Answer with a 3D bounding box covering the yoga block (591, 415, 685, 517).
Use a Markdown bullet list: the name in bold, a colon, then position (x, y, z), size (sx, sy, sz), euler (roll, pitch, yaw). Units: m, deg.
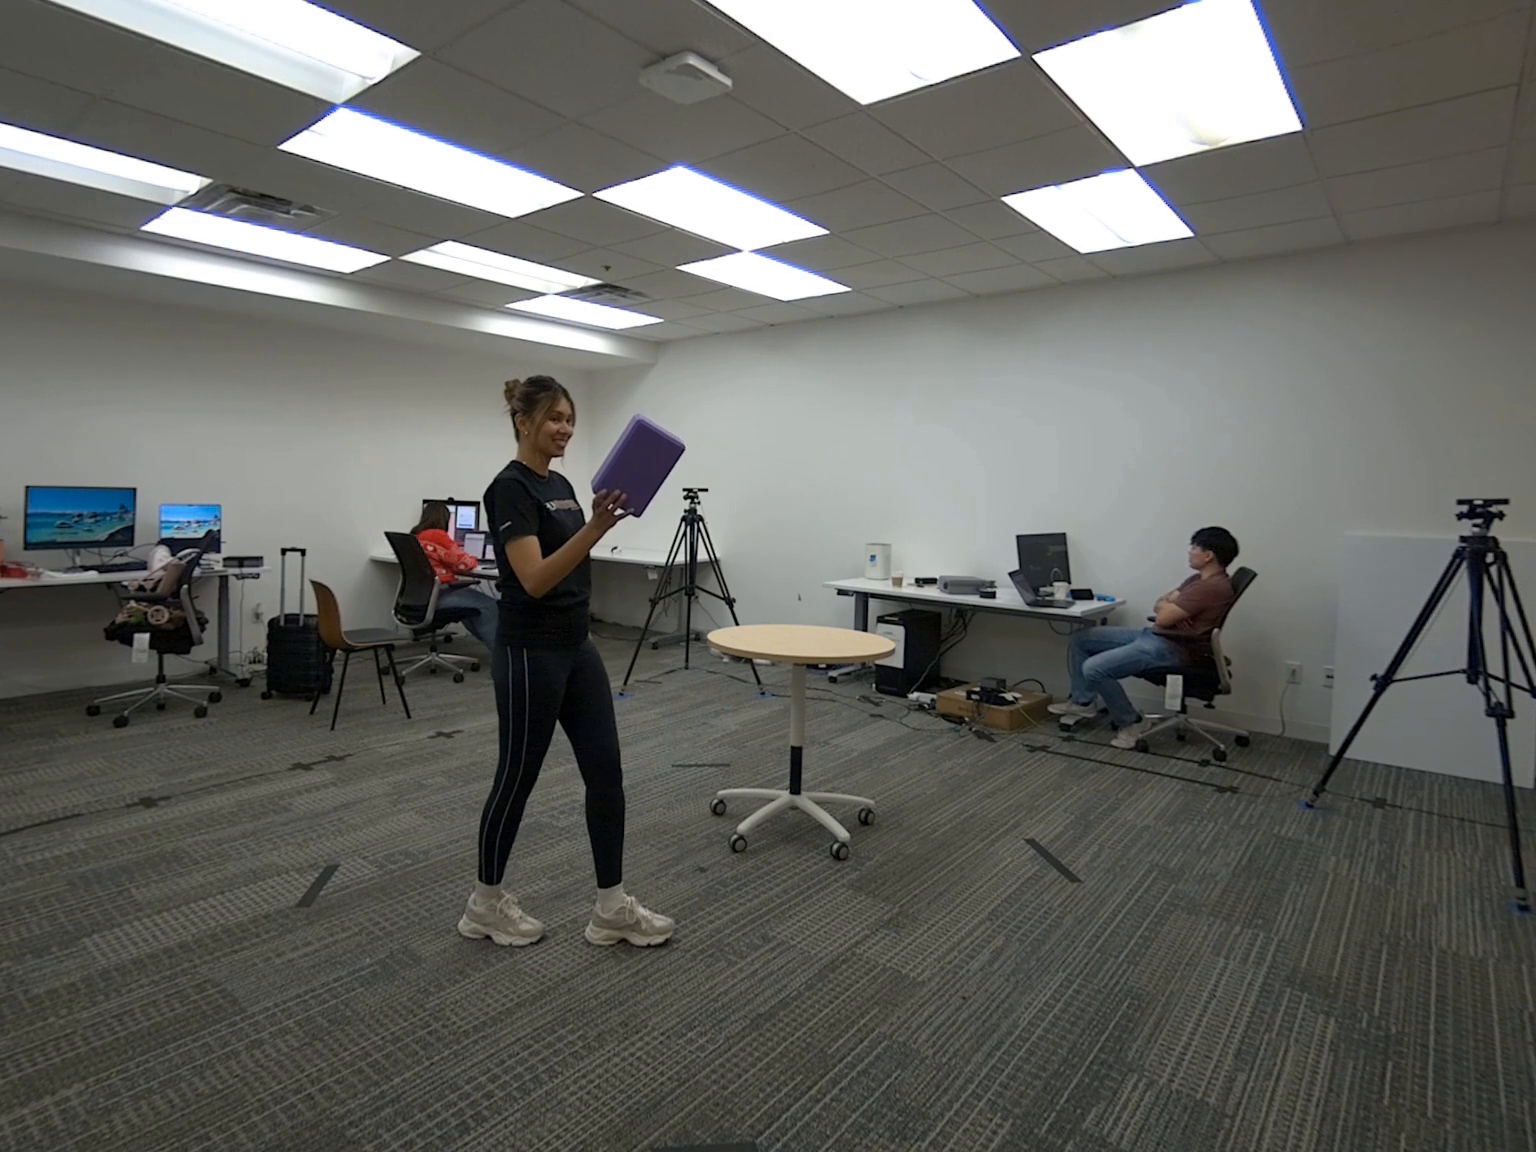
- **yoga block**: position (-0.346, -0.287, 2.185), size (0.145, 0.229, 0.079), euler (31, 13, -23)
